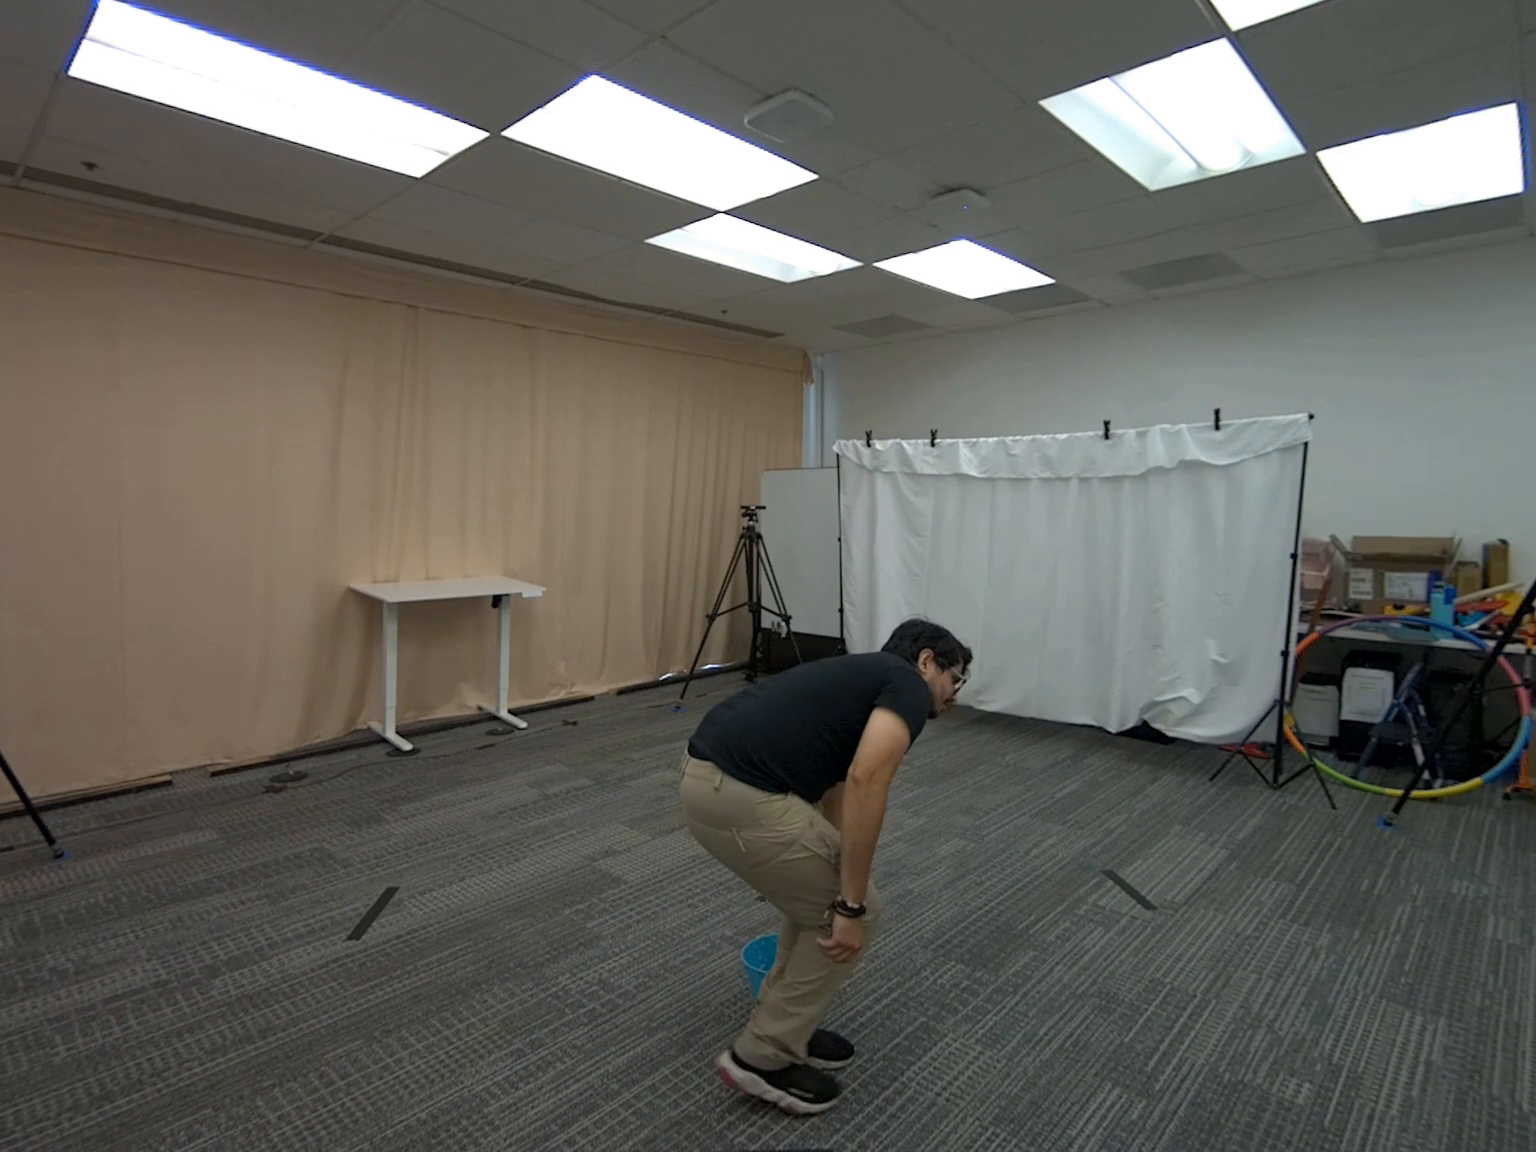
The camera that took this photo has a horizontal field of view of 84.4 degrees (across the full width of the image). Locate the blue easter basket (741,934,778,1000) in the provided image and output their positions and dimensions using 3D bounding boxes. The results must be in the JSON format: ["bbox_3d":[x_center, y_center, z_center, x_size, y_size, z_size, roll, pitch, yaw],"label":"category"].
[{"bbox_3d":[0.054,1.116,2.321,0.243,0.156,0.244,-3,2,-2],"label":"blue easter basket"}]
